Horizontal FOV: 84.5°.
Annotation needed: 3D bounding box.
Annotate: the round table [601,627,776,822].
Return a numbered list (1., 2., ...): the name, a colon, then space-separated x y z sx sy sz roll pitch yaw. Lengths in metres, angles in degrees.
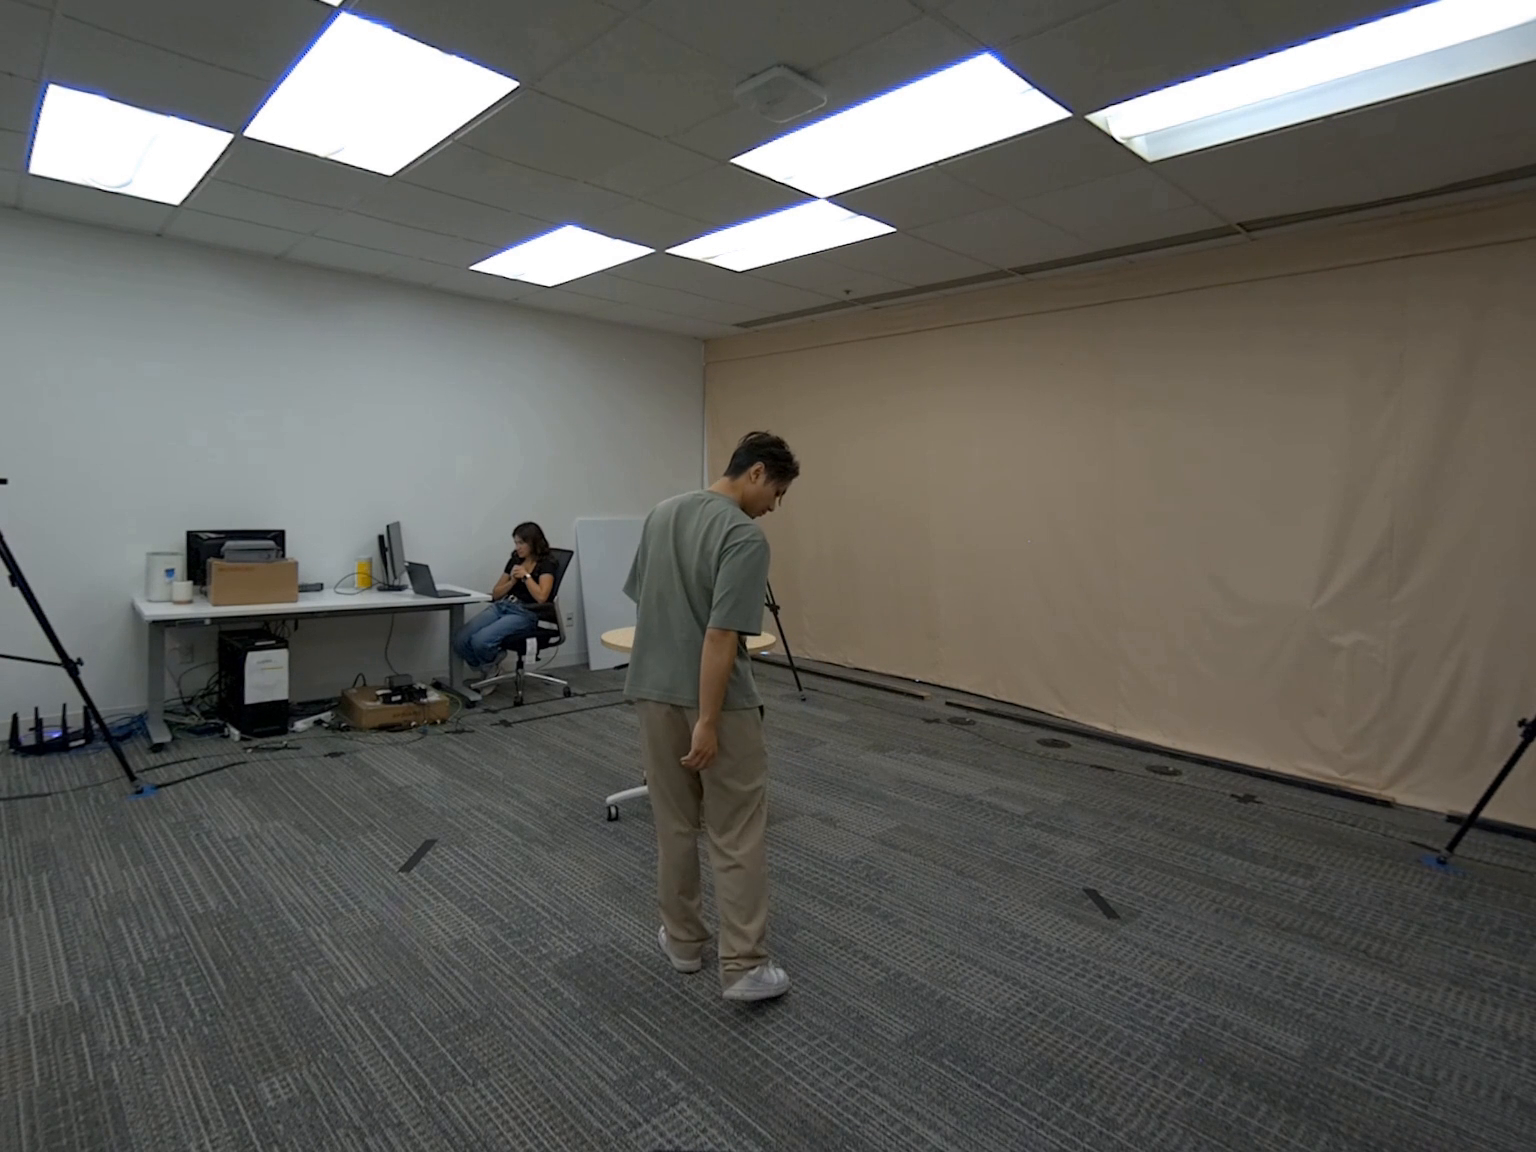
1. round table: -0.354 0.659 3.727 0.784 0.784 0.788 1 4 -1
